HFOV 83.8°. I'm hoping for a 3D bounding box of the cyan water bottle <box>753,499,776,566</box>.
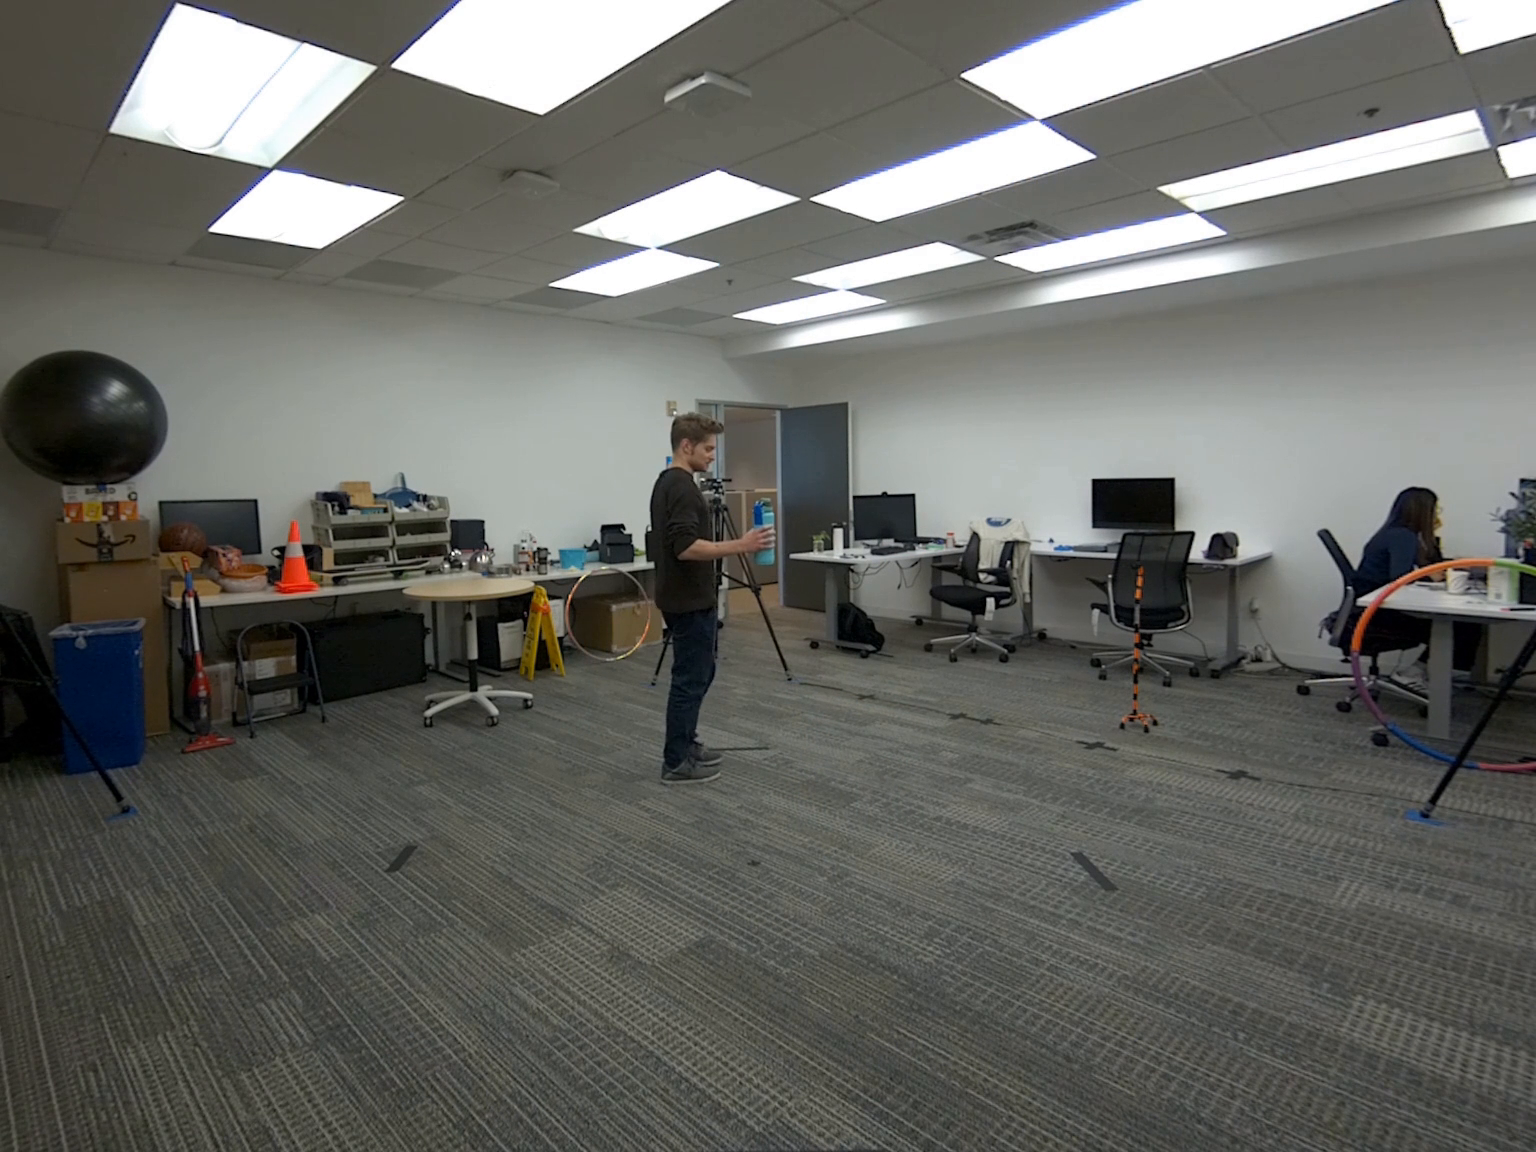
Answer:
[{"bbox_3d":[-0.024,-0.197,3.742,0.092,0.280,0.093,1,12,-2],"label":"cyan water bottle"}]
